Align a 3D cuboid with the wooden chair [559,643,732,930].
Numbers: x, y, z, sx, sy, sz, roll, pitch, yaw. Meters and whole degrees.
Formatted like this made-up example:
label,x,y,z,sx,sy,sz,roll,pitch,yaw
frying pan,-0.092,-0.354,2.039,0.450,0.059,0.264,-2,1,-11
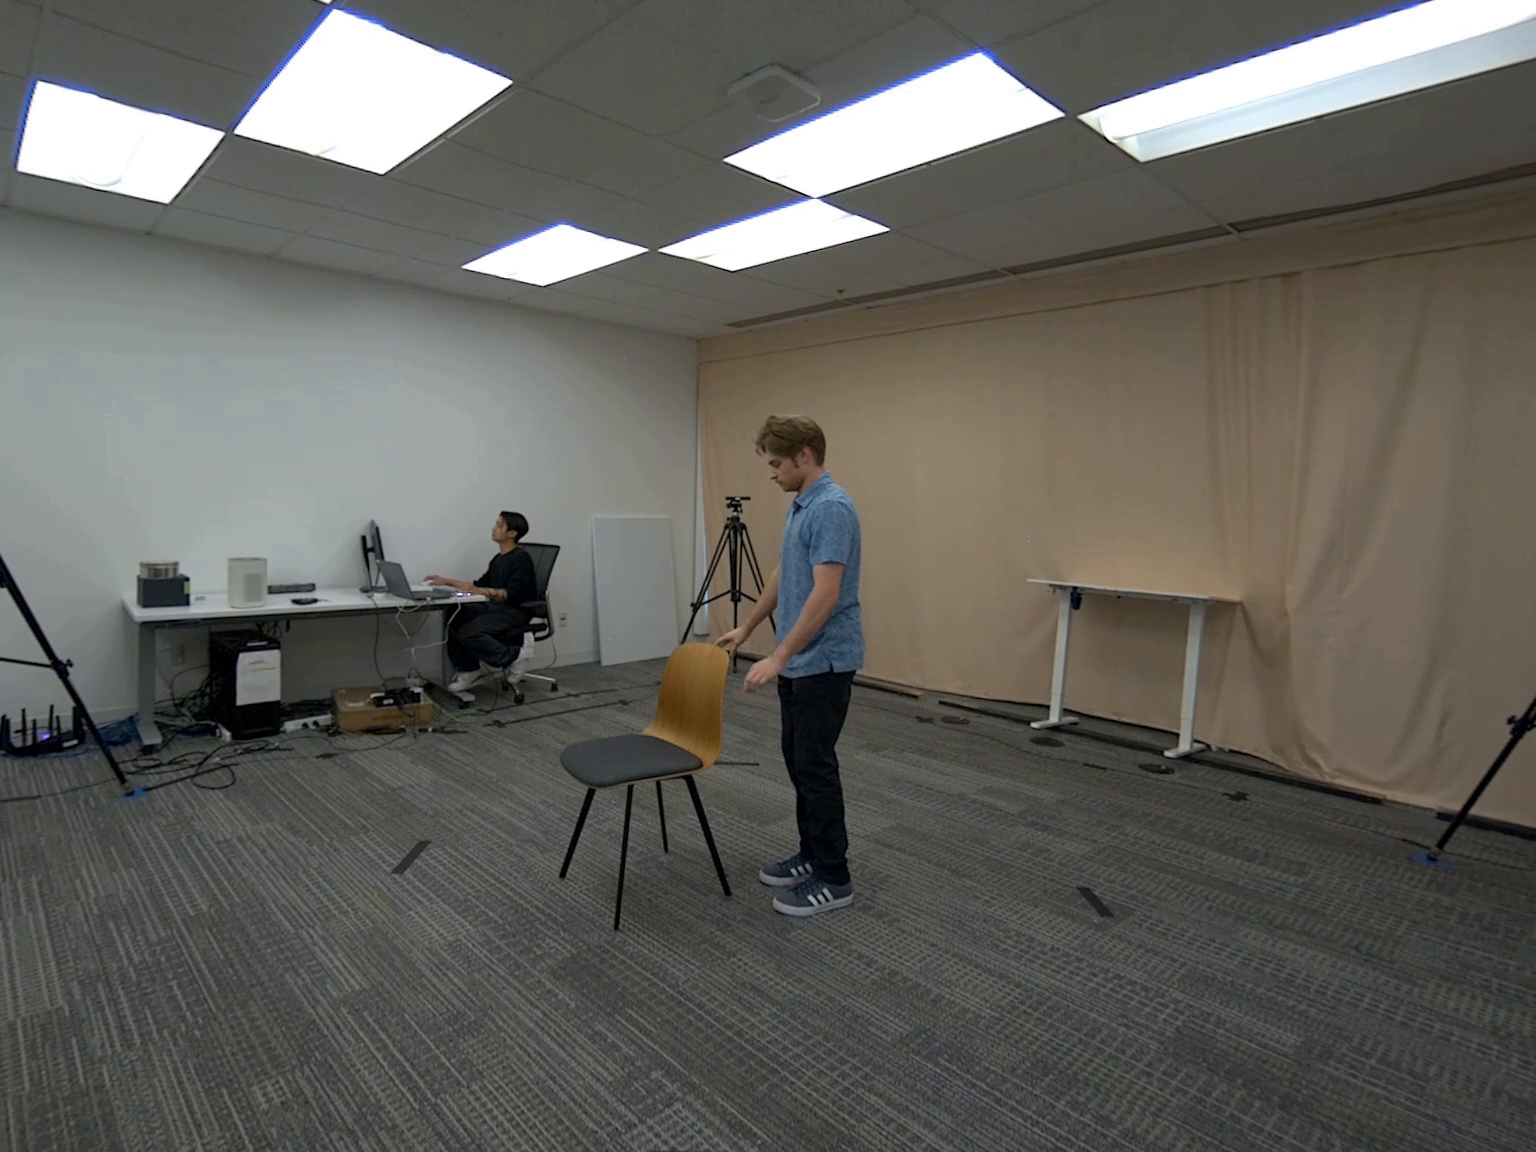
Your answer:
label,x,y,z,sx,sy,sz,roll,pitch,yaw
wooden chair,-0.440,0.683,2.968,0.510,0.877,0.490,4,1,-36
